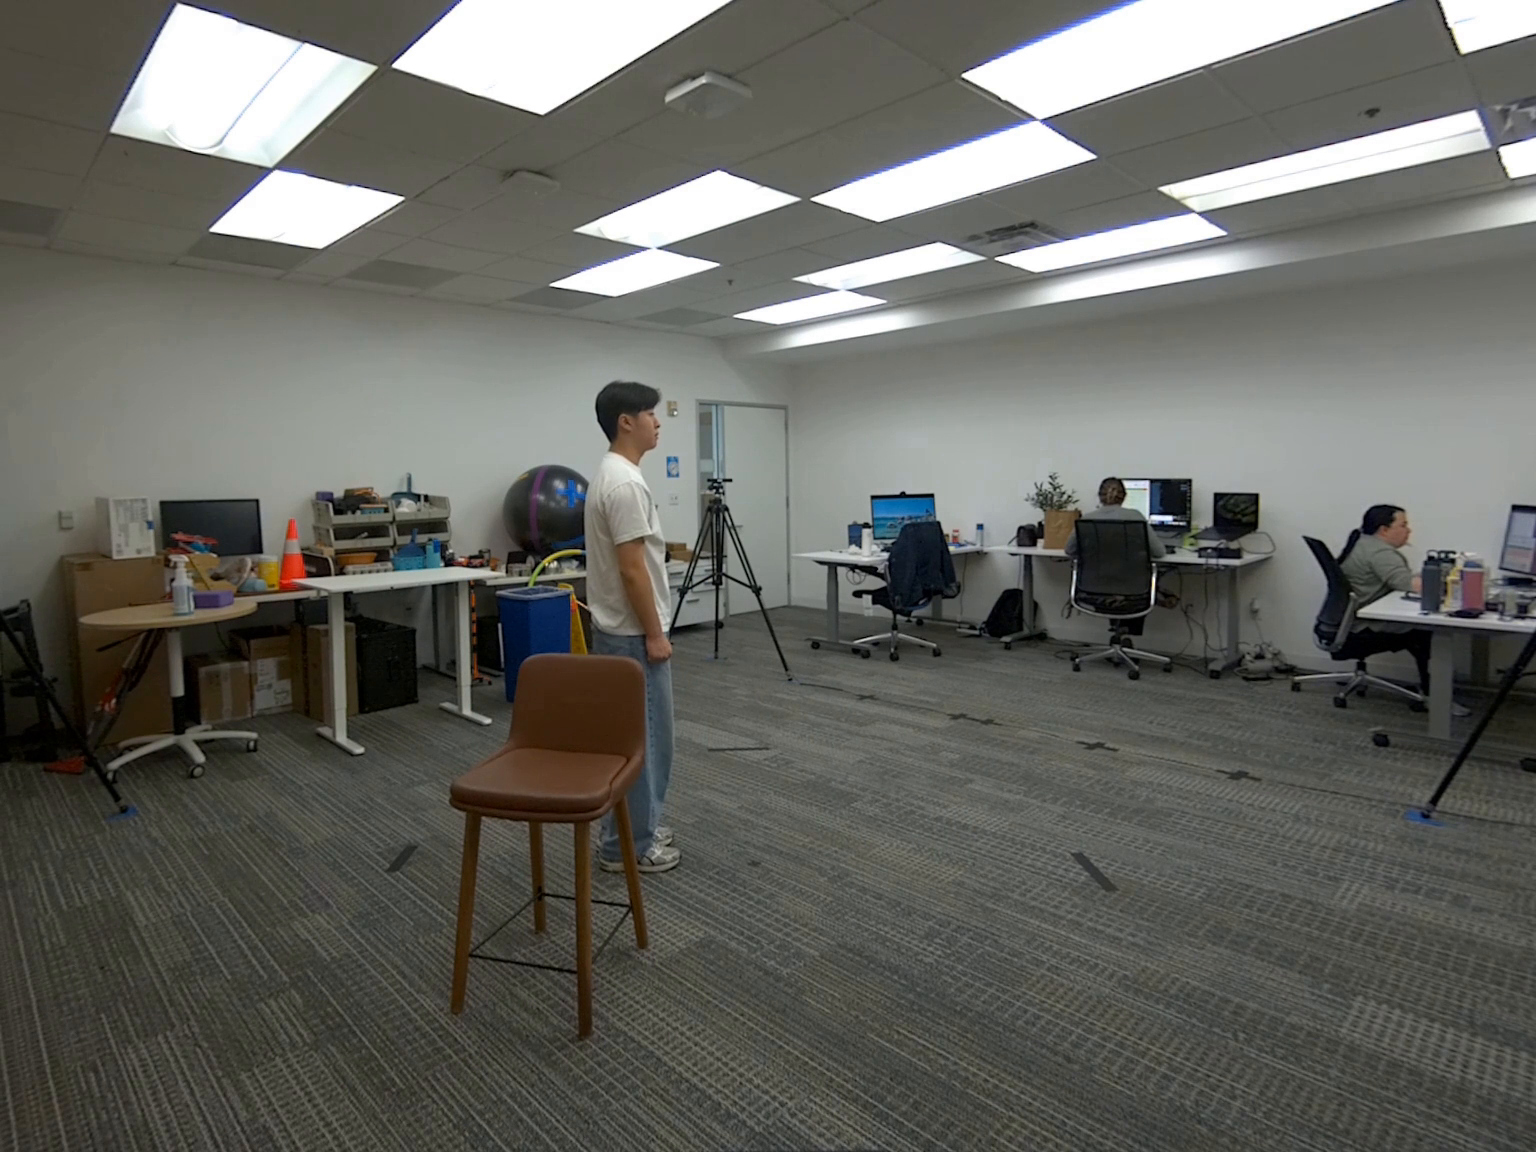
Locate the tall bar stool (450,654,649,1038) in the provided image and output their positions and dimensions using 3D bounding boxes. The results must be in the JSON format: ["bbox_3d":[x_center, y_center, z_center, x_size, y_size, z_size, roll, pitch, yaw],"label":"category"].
[{"bbox_3d":[-0.600,0.703,2.398,0.464,0.888,0.461,1,3,17],"label":"tall bar stool"}]
